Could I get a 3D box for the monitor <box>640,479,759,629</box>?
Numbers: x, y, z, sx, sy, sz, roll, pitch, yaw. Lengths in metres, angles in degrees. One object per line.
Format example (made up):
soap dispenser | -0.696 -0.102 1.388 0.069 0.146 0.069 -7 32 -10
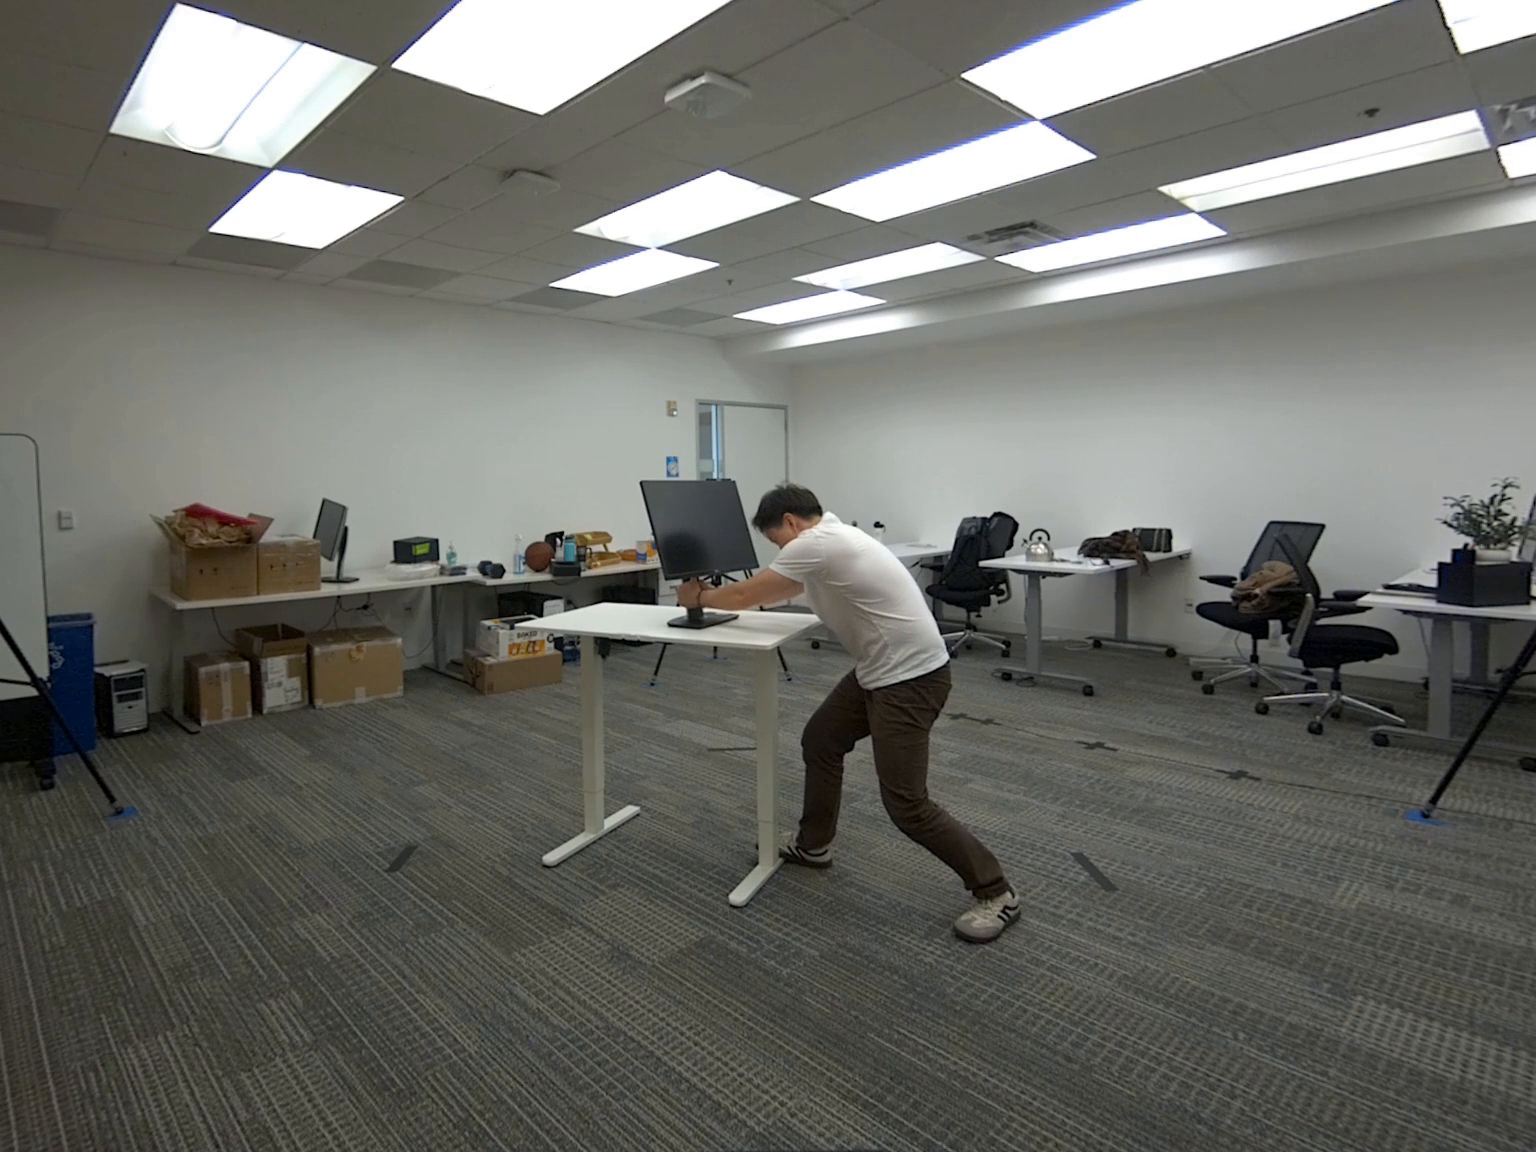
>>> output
monitor | -0.251 -0.089 3.107 0.192 0.522 0.526 -3 2 33
